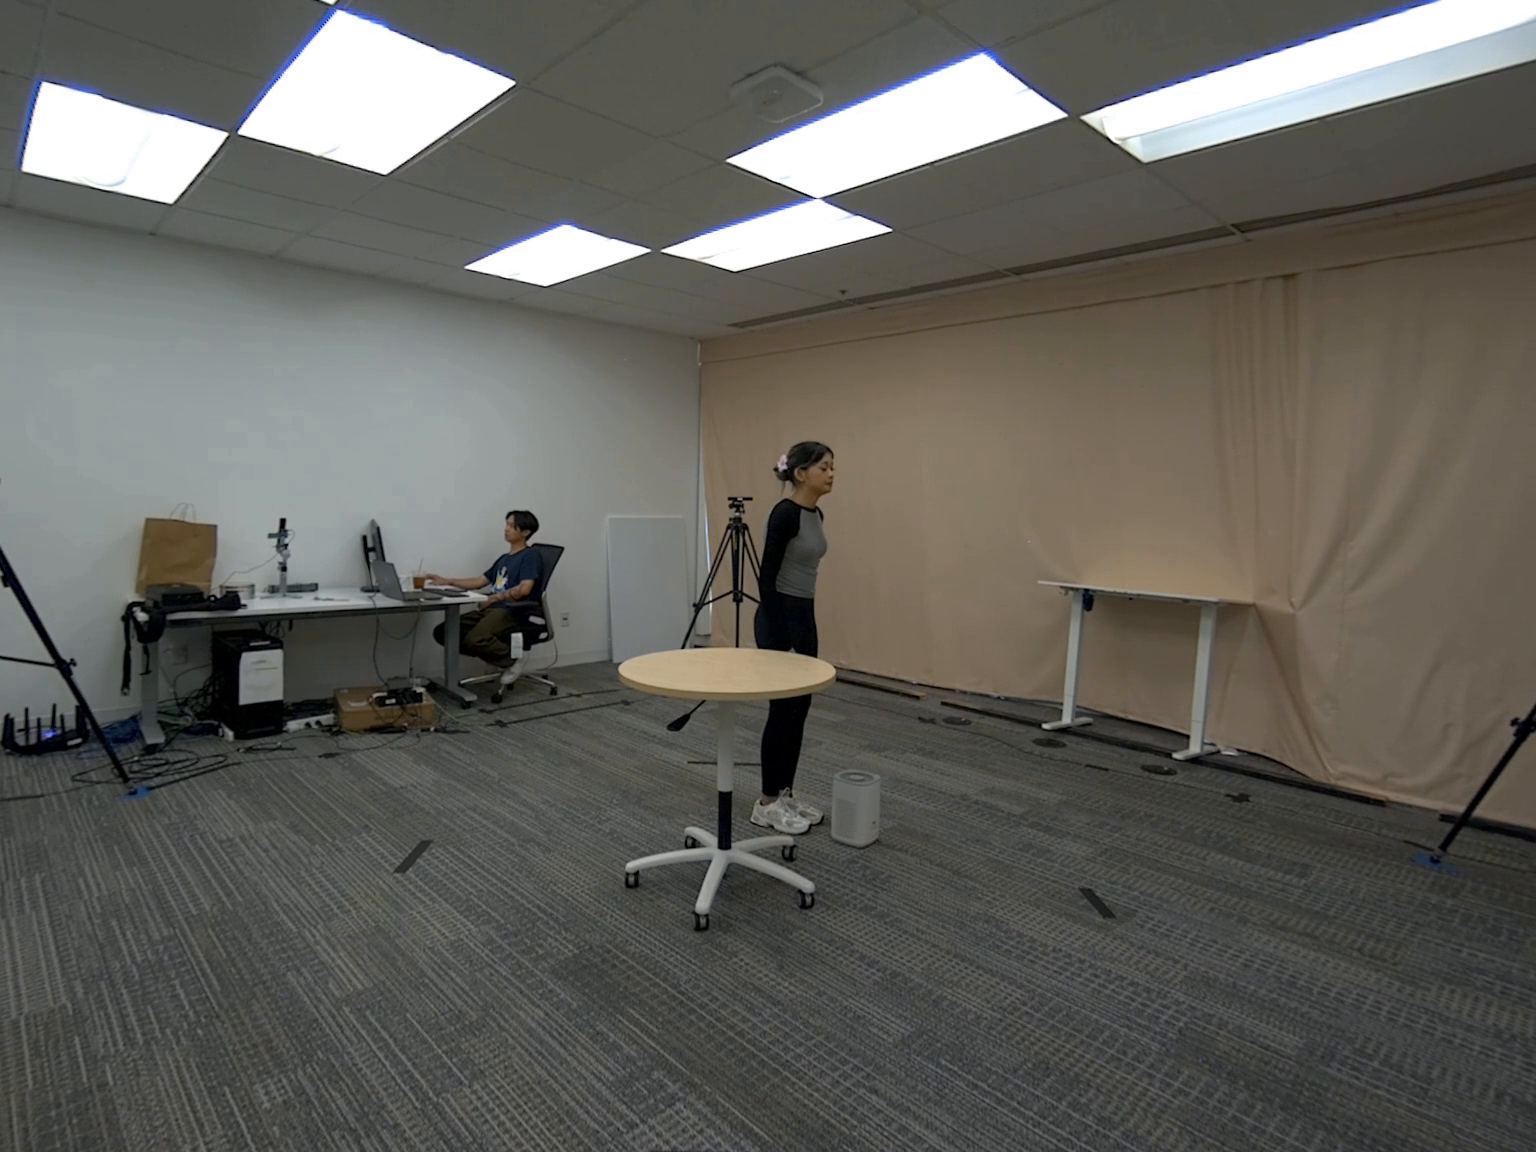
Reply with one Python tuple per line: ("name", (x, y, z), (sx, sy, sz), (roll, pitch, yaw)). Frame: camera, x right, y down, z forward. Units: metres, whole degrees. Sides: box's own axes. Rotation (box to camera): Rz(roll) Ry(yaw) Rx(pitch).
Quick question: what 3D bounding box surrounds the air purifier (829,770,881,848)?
("air purifier", (0.352, 0.953, 3.468), (0.176, 0.265, 0.167), (4, 4, 36))
